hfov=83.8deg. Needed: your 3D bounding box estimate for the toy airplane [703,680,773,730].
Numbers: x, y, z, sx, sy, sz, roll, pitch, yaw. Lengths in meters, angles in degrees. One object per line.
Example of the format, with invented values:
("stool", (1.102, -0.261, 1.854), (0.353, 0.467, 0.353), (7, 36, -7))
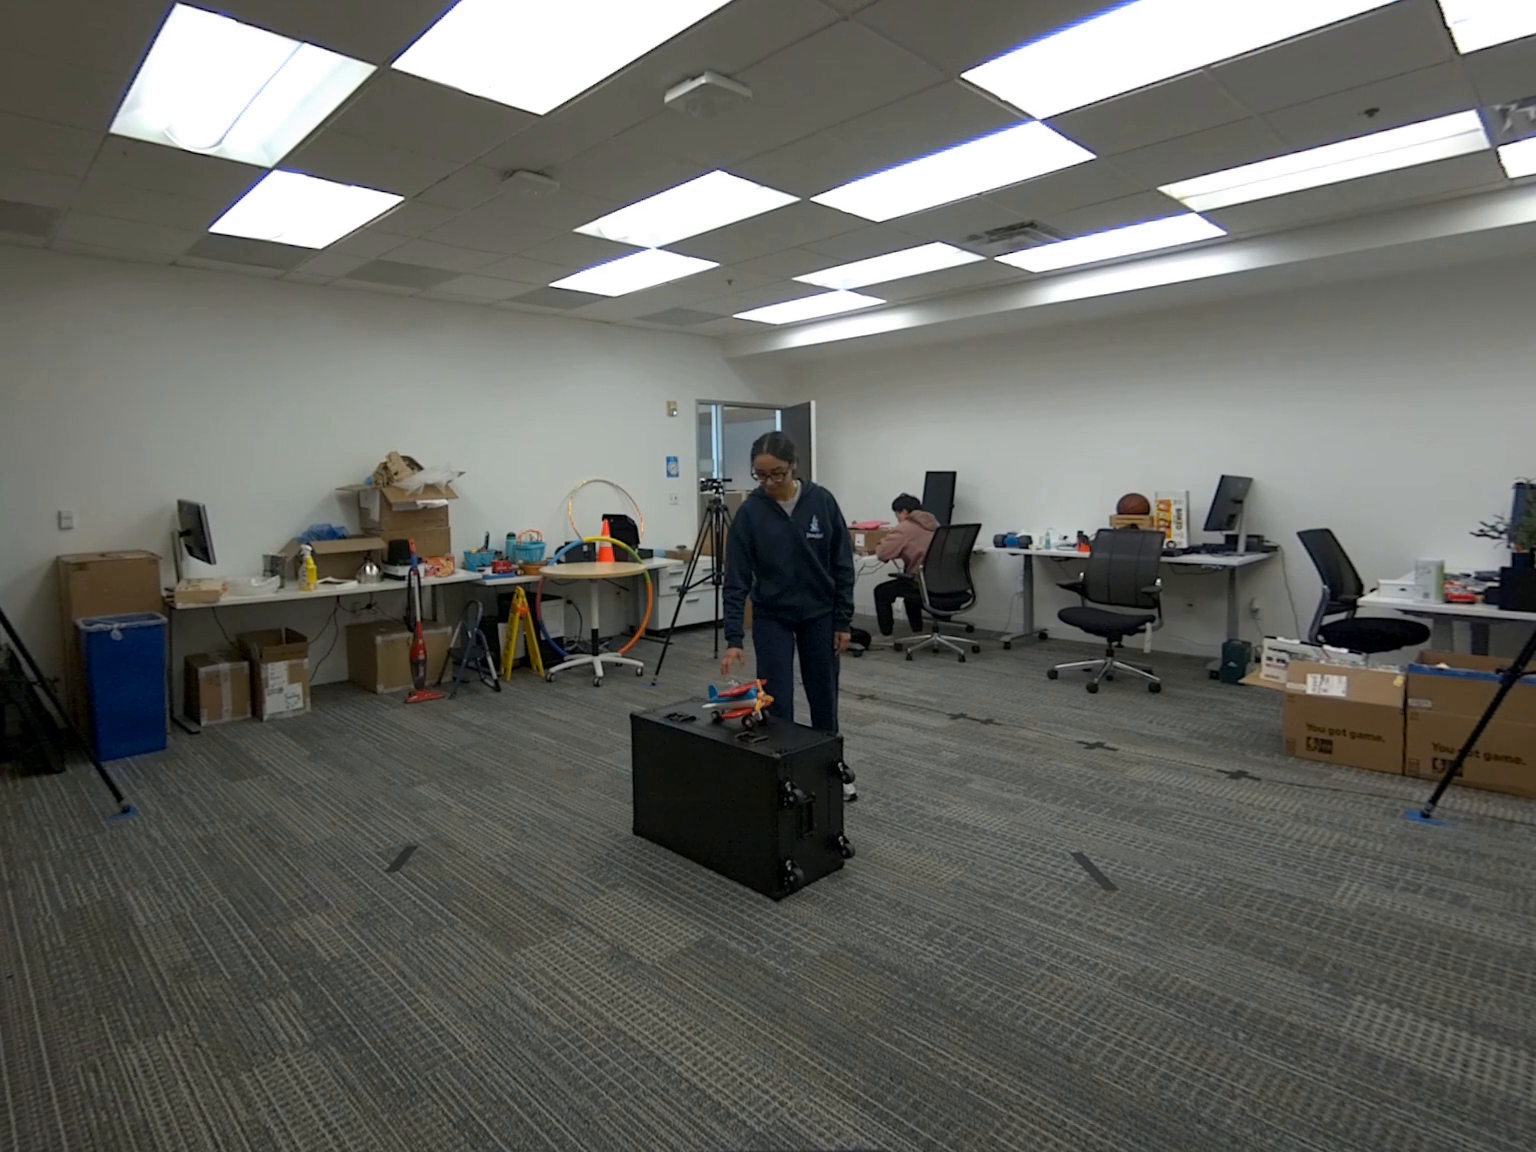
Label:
("toy airplane", (-0.122, 0.477, 3.177), (0.262, 0.156, 0.250), (0, 6, 9))
